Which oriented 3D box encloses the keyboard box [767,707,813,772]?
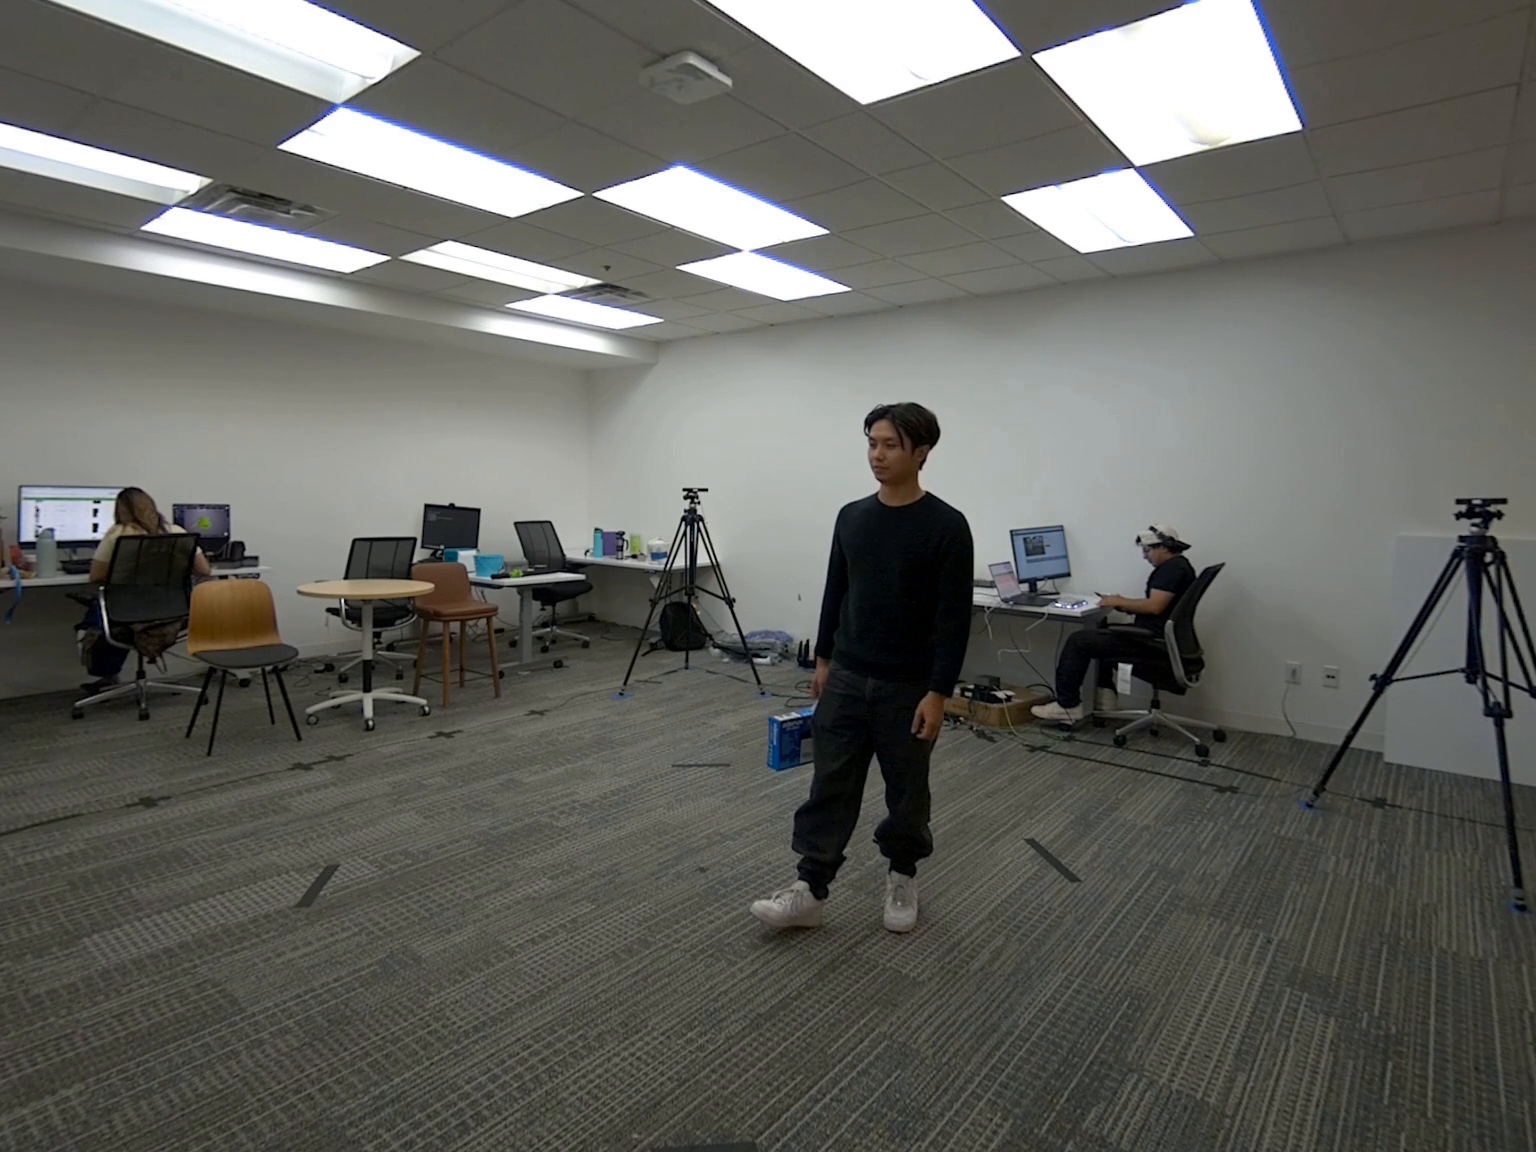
[{"bbox_3d":[0.175,0.539,2.934,0.424,0.175,0.061,-5,8,-36],"label":"keyboard box"}]
